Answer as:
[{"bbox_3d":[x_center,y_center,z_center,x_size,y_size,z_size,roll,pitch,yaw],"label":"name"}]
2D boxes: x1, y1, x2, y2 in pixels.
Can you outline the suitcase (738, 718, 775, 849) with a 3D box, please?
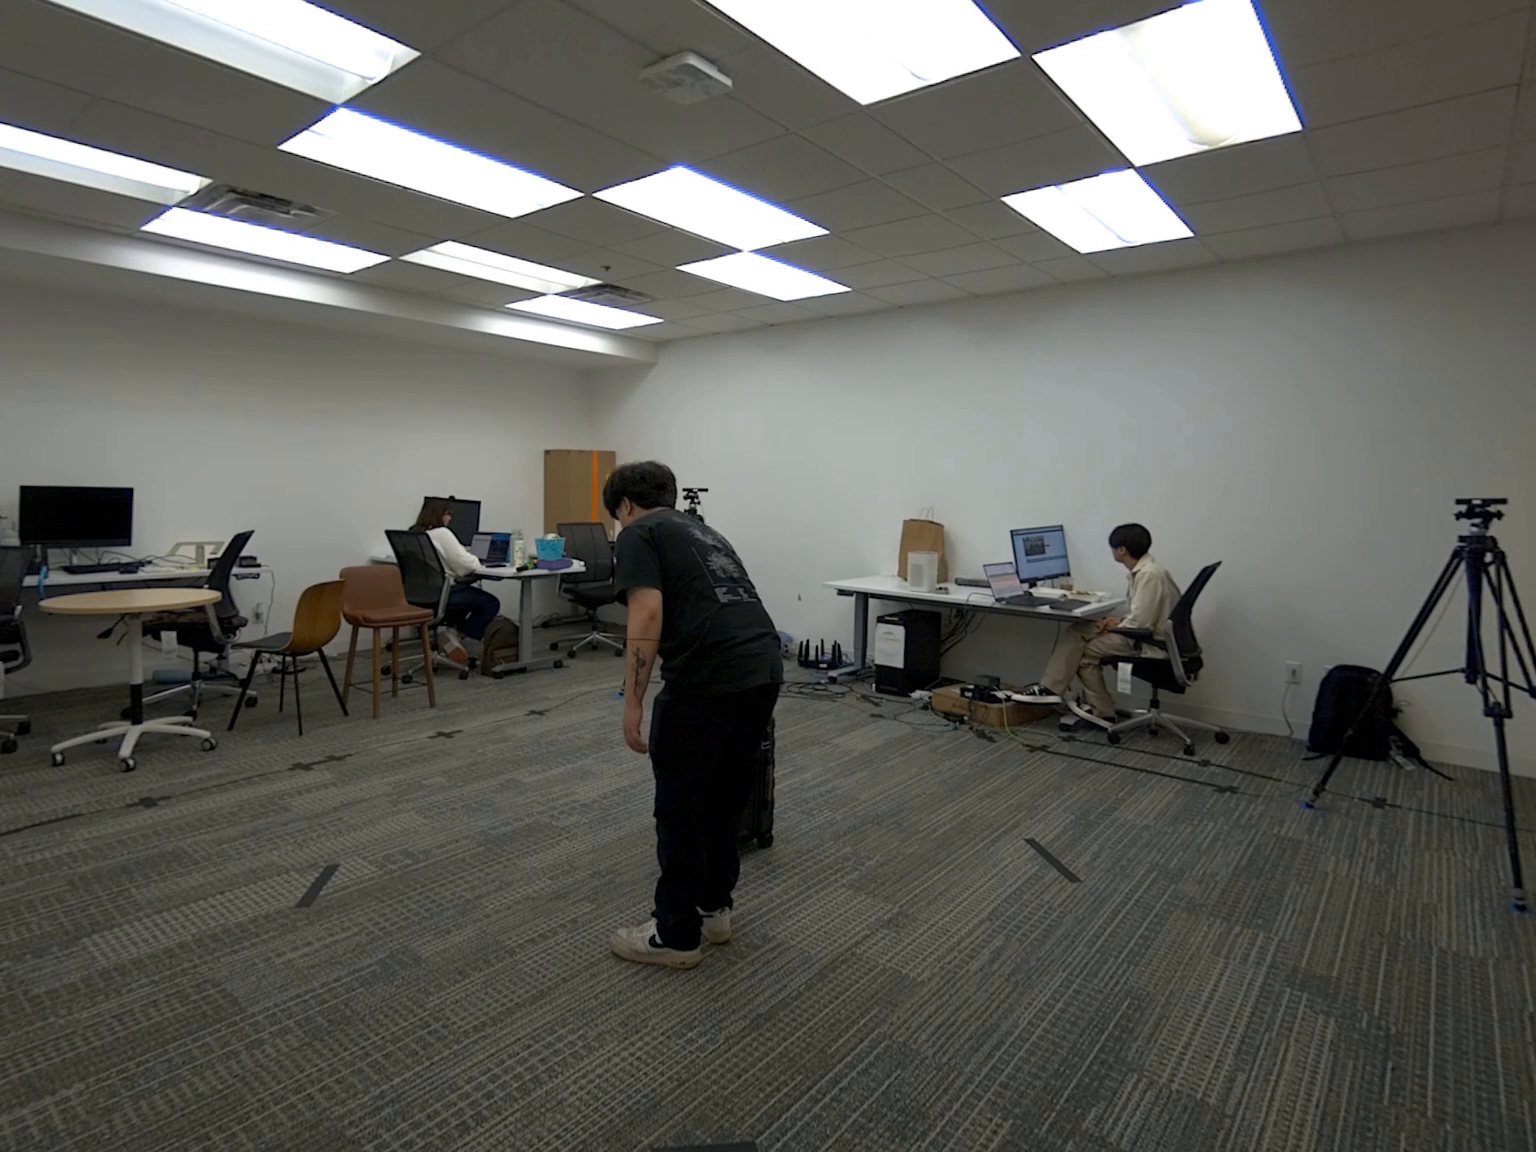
[{"bbox_3d":[-0.174,0.768,3.342,0.388,0.548,0.240,4,3,40],"label":"suitcase"}]
